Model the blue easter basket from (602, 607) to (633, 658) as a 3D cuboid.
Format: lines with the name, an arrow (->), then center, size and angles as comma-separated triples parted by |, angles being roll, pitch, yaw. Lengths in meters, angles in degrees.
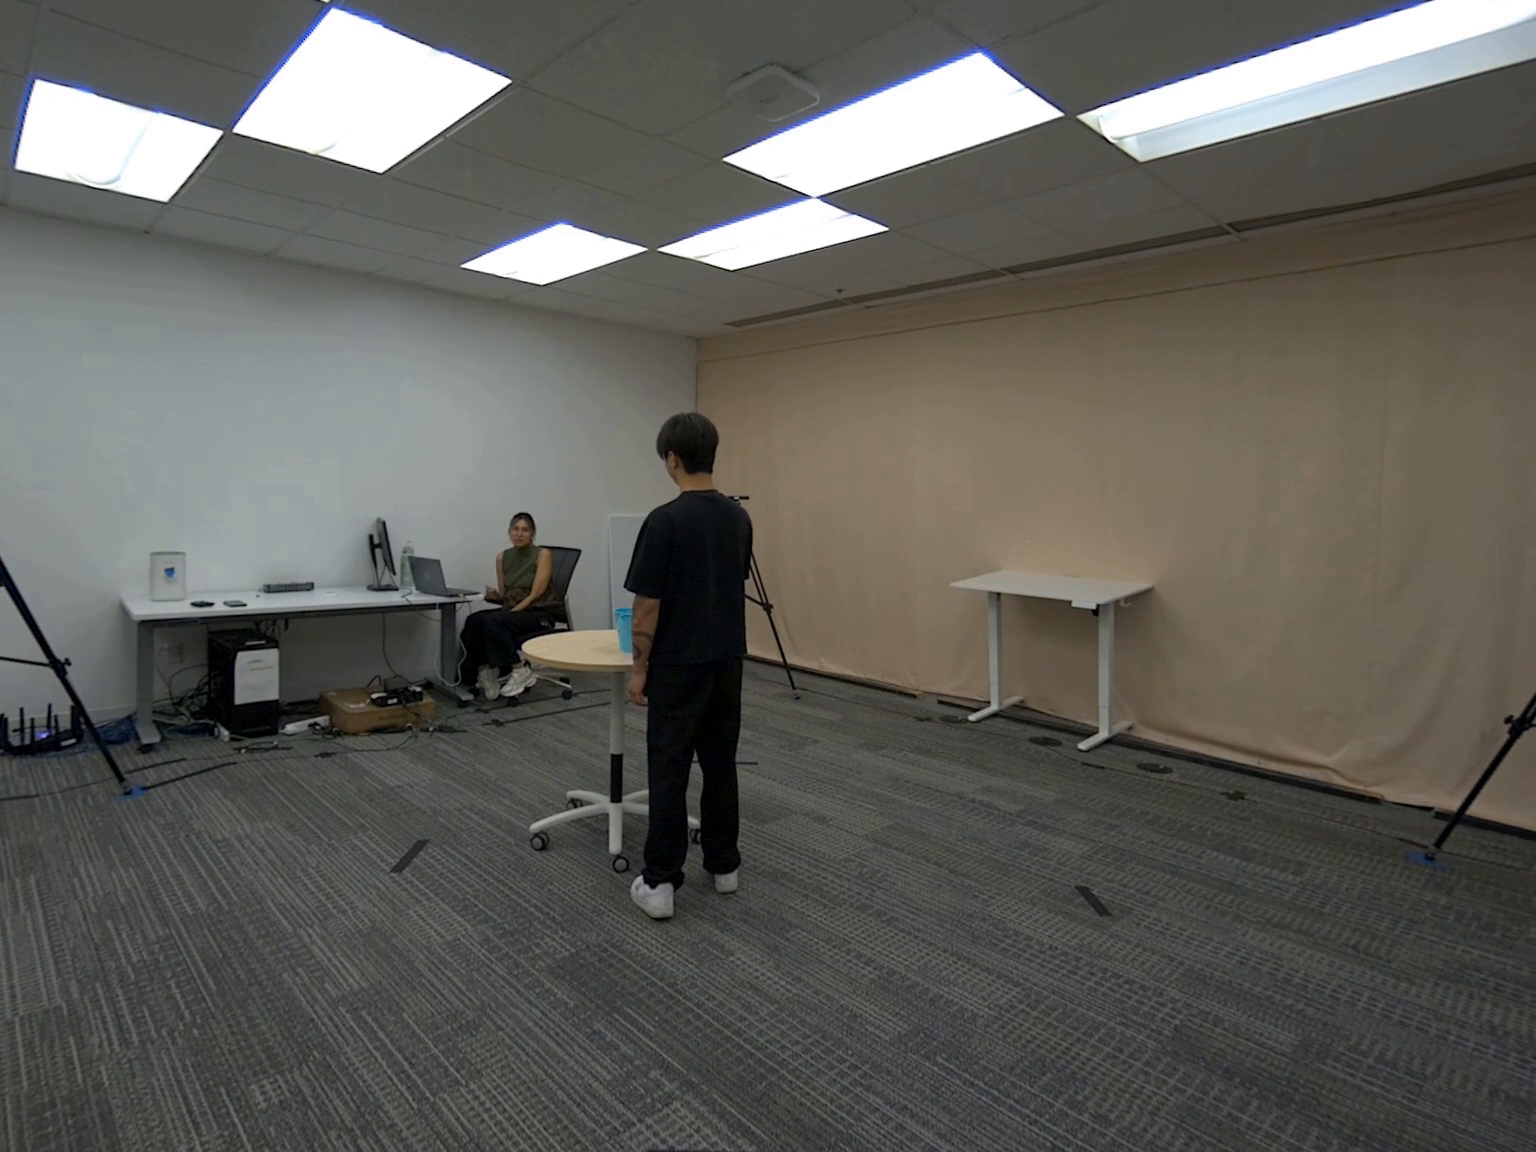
blue easter basket -> -0.511, 0.218, 3.337 | 0.243, 0.155, 0.244 | 2, 4, -1
